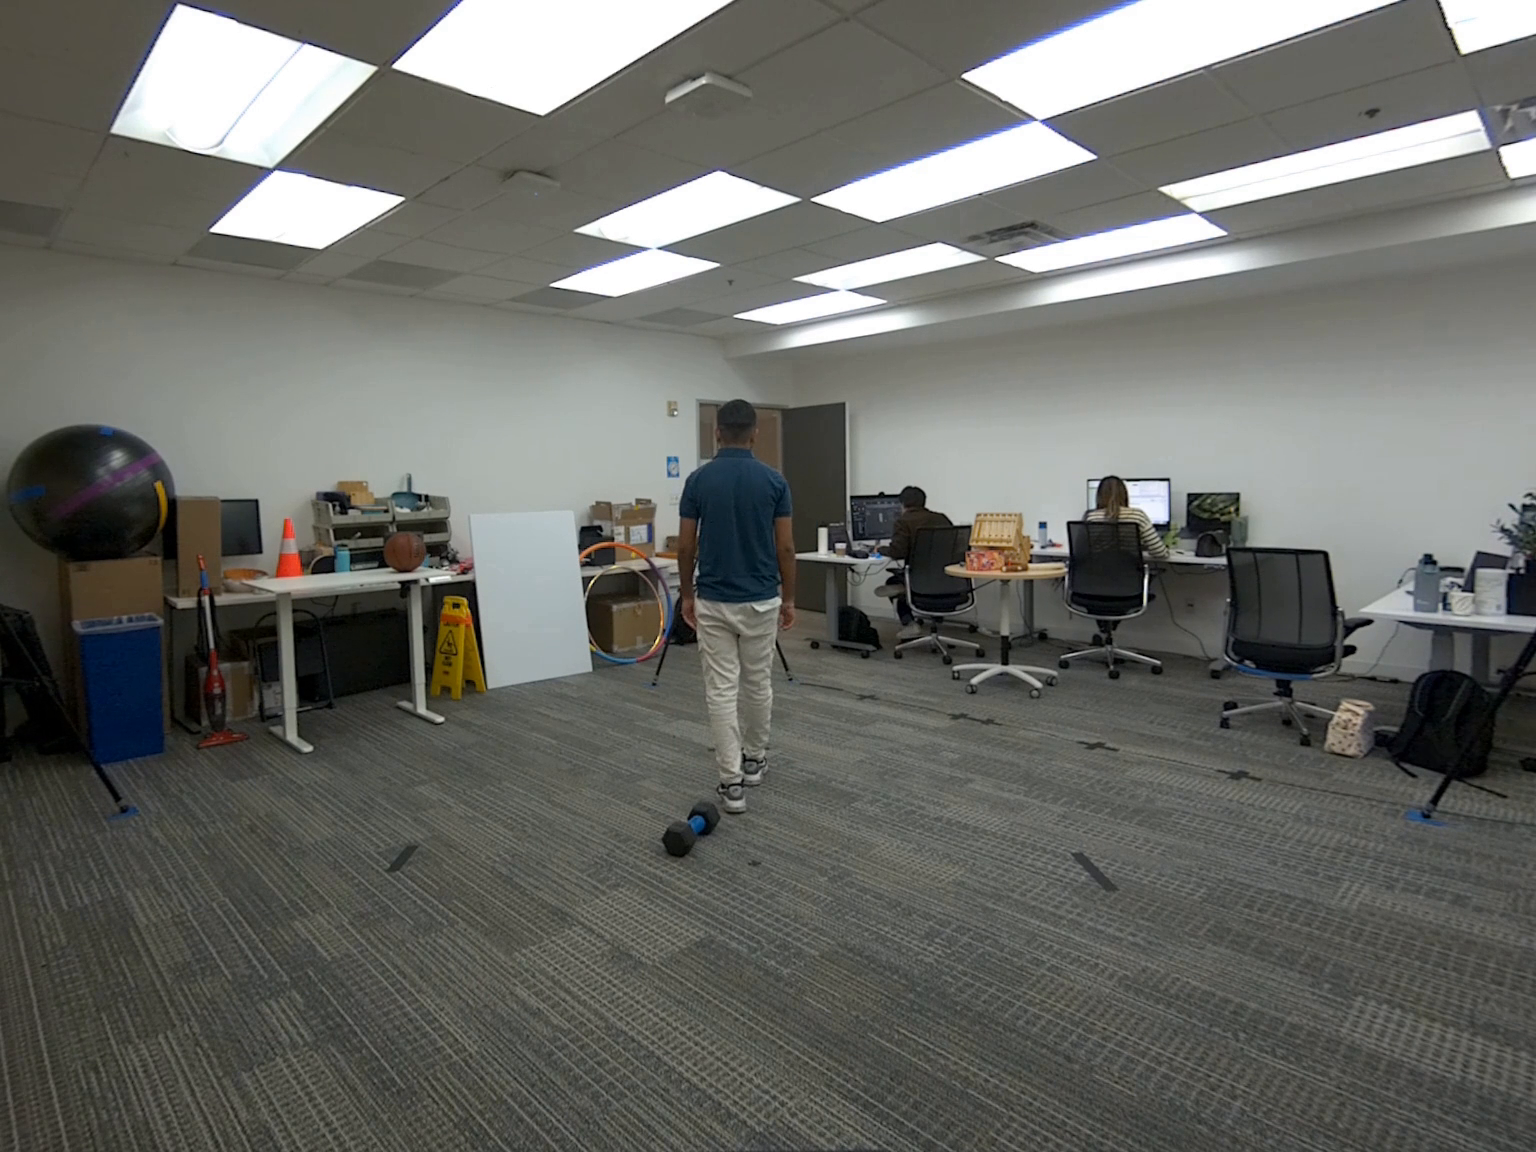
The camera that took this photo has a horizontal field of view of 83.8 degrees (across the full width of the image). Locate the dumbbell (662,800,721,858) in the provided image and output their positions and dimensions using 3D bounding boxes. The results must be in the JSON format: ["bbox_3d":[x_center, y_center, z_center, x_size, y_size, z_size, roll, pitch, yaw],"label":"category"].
[{"bbox_3d":[-0.302,0.972,3.292,0.109,0.124,0.289,-30,-6,23],"label":"dumbbell"}]
